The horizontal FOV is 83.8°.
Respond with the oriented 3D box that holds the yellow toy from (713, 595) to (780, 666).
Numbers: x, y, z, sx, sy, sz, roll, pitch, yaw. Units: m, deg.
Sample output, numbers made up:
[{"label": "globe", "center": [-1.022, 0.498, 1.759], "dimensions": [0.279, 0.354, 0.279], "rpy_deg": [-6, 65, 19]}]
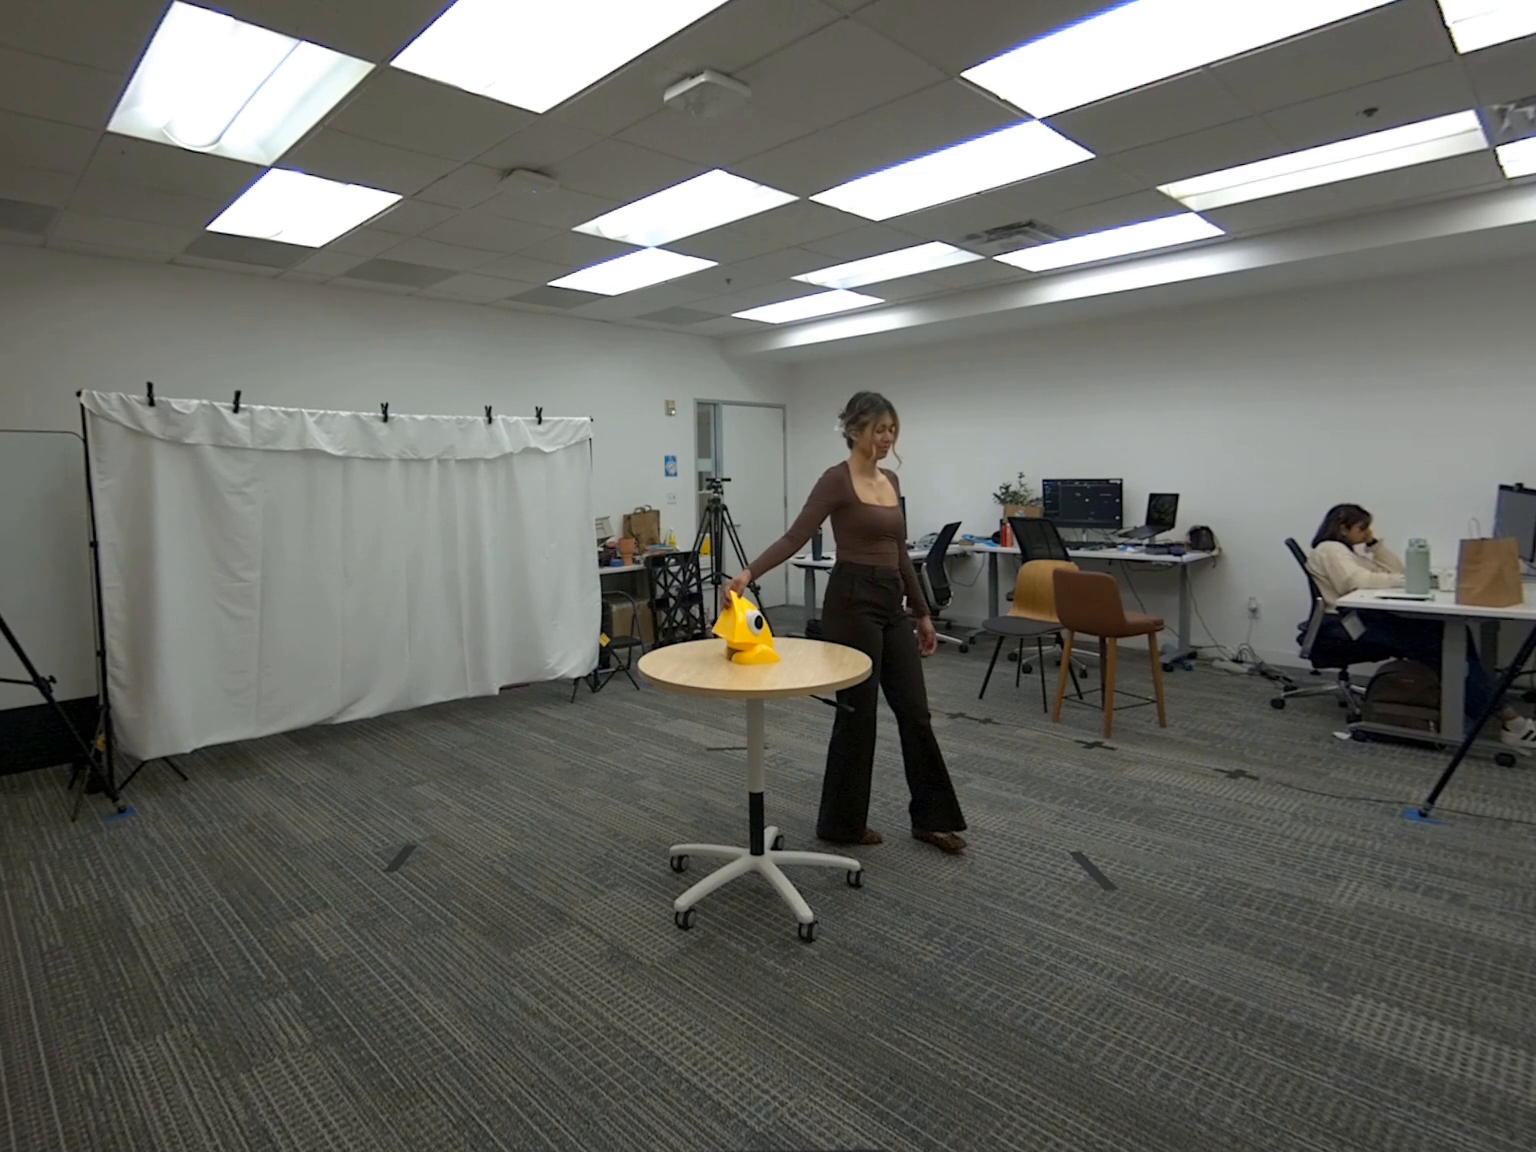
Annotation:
[{"label": "yellow toy", "center": [-0.064, 0.162, 2.849], "dimensions": [0.189, 0.230, 0.209], "rpy_deg": [-2, 5, -22]}]
